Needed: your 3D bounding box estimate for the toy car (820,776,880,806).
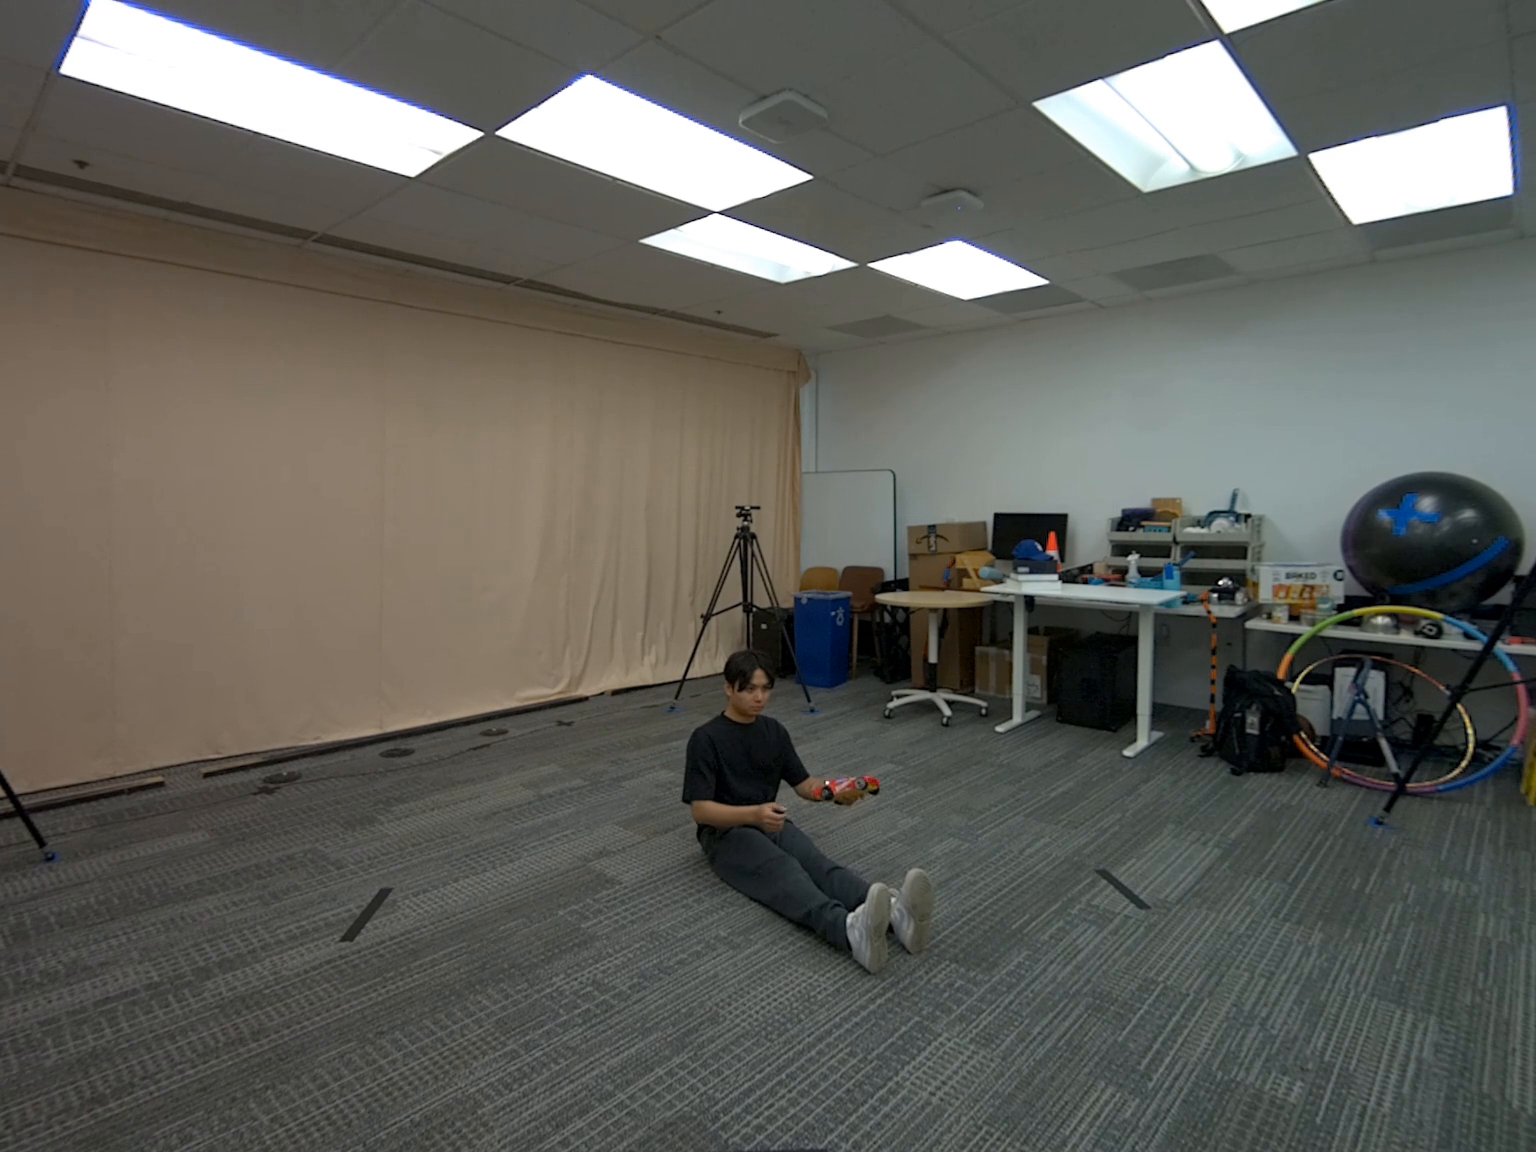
[{"bbox_3d":[0.277,0.798,3.110,0.260,0.084,0.125,-16,-30,35],"label":"toy car"}]
